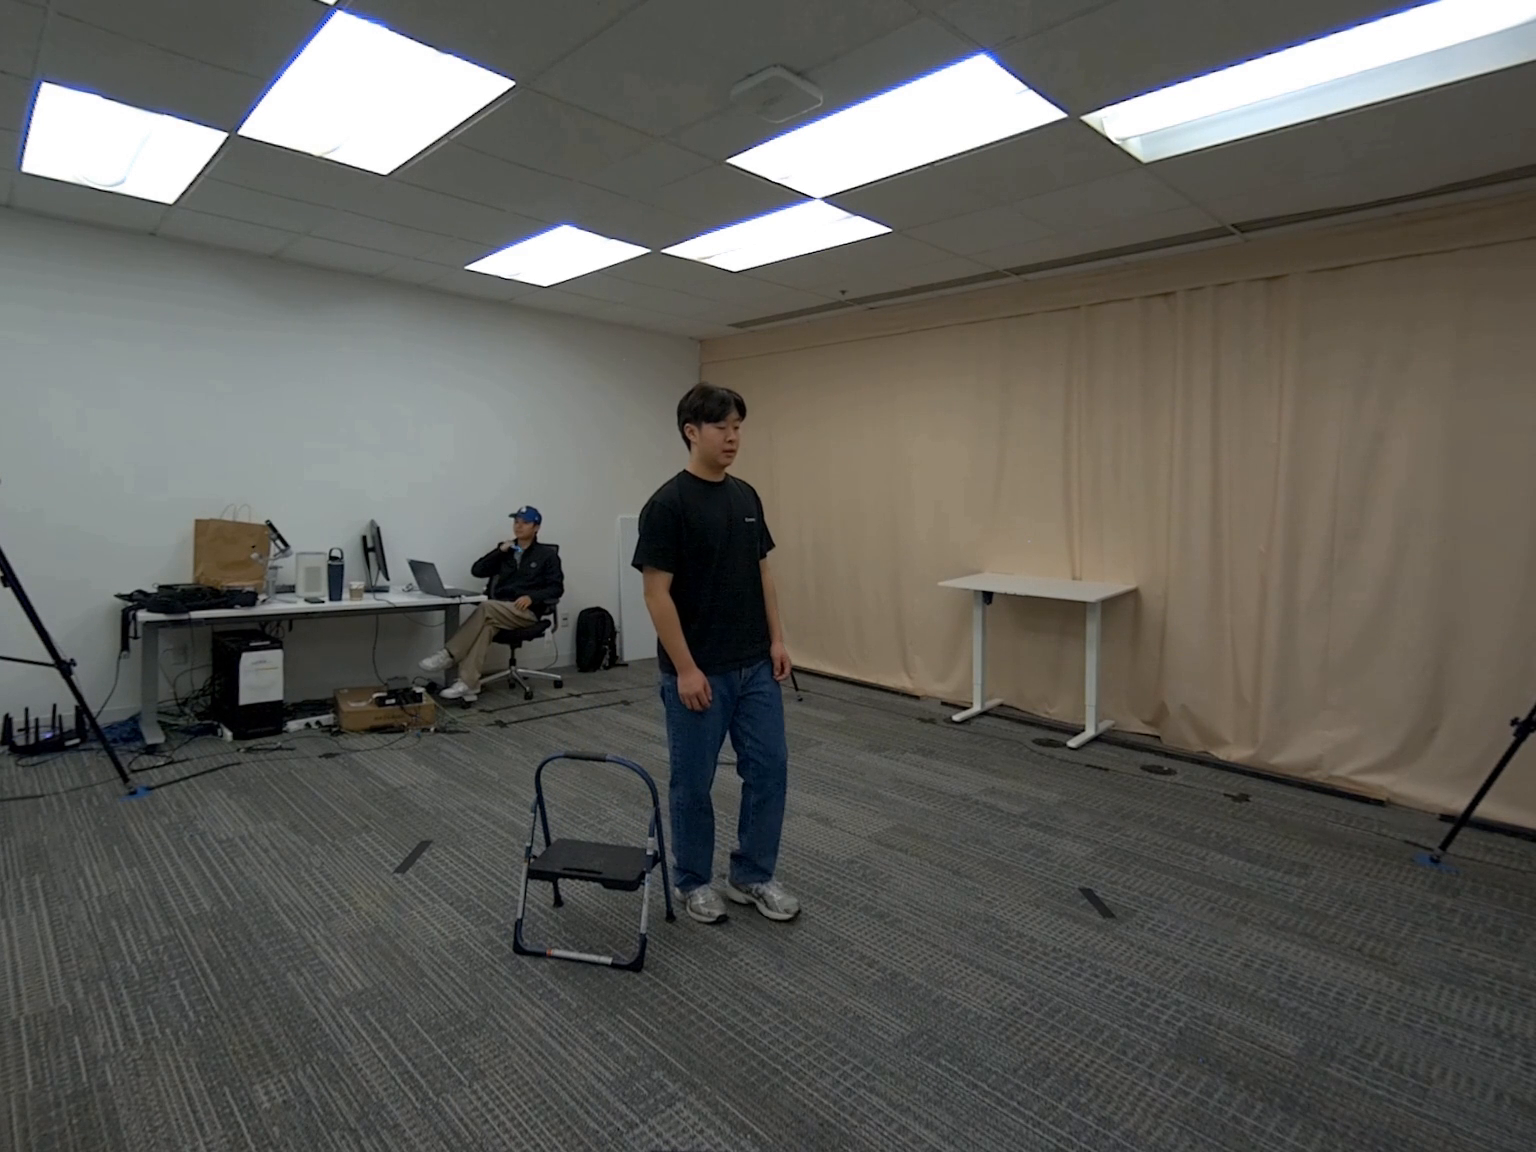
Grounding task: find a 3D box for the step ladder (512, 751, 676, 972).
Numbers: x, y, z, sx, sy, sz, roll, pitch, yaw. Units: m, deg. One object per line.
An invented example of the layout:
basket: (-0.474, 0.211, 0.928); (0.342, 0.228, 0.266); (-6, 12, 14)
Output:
step ladder: (-0.543, 0.842, 2.643); (0.434, 0.605, 0.347); (2, 3, 10)
